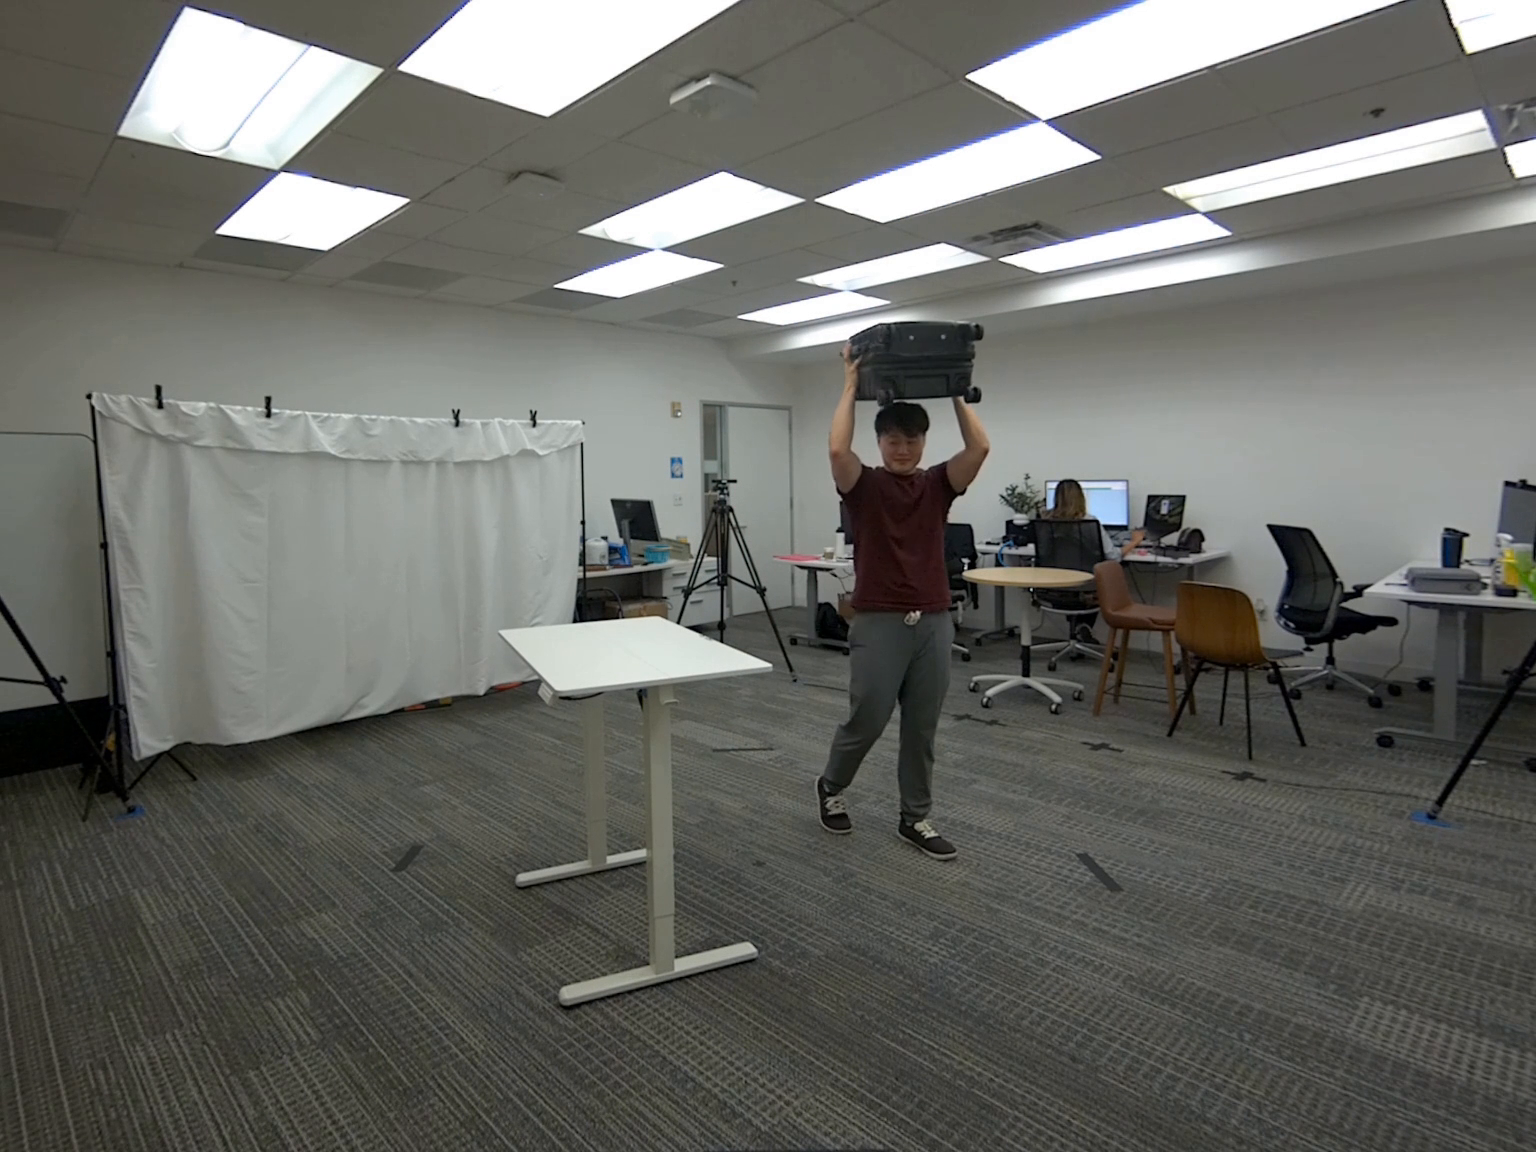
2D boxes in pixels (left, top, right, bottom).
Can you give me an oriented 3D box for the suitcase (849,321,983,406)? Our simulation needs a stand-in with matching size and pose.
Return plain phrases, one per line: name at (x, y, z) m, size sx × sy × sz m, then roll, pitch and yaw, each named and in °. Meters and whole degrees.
suitcase at (0.462, -0.790, 3.223) m, size 0.382 × 0.255 × 0.992 m, roll -4°, pitch 10°, yaw -6°
